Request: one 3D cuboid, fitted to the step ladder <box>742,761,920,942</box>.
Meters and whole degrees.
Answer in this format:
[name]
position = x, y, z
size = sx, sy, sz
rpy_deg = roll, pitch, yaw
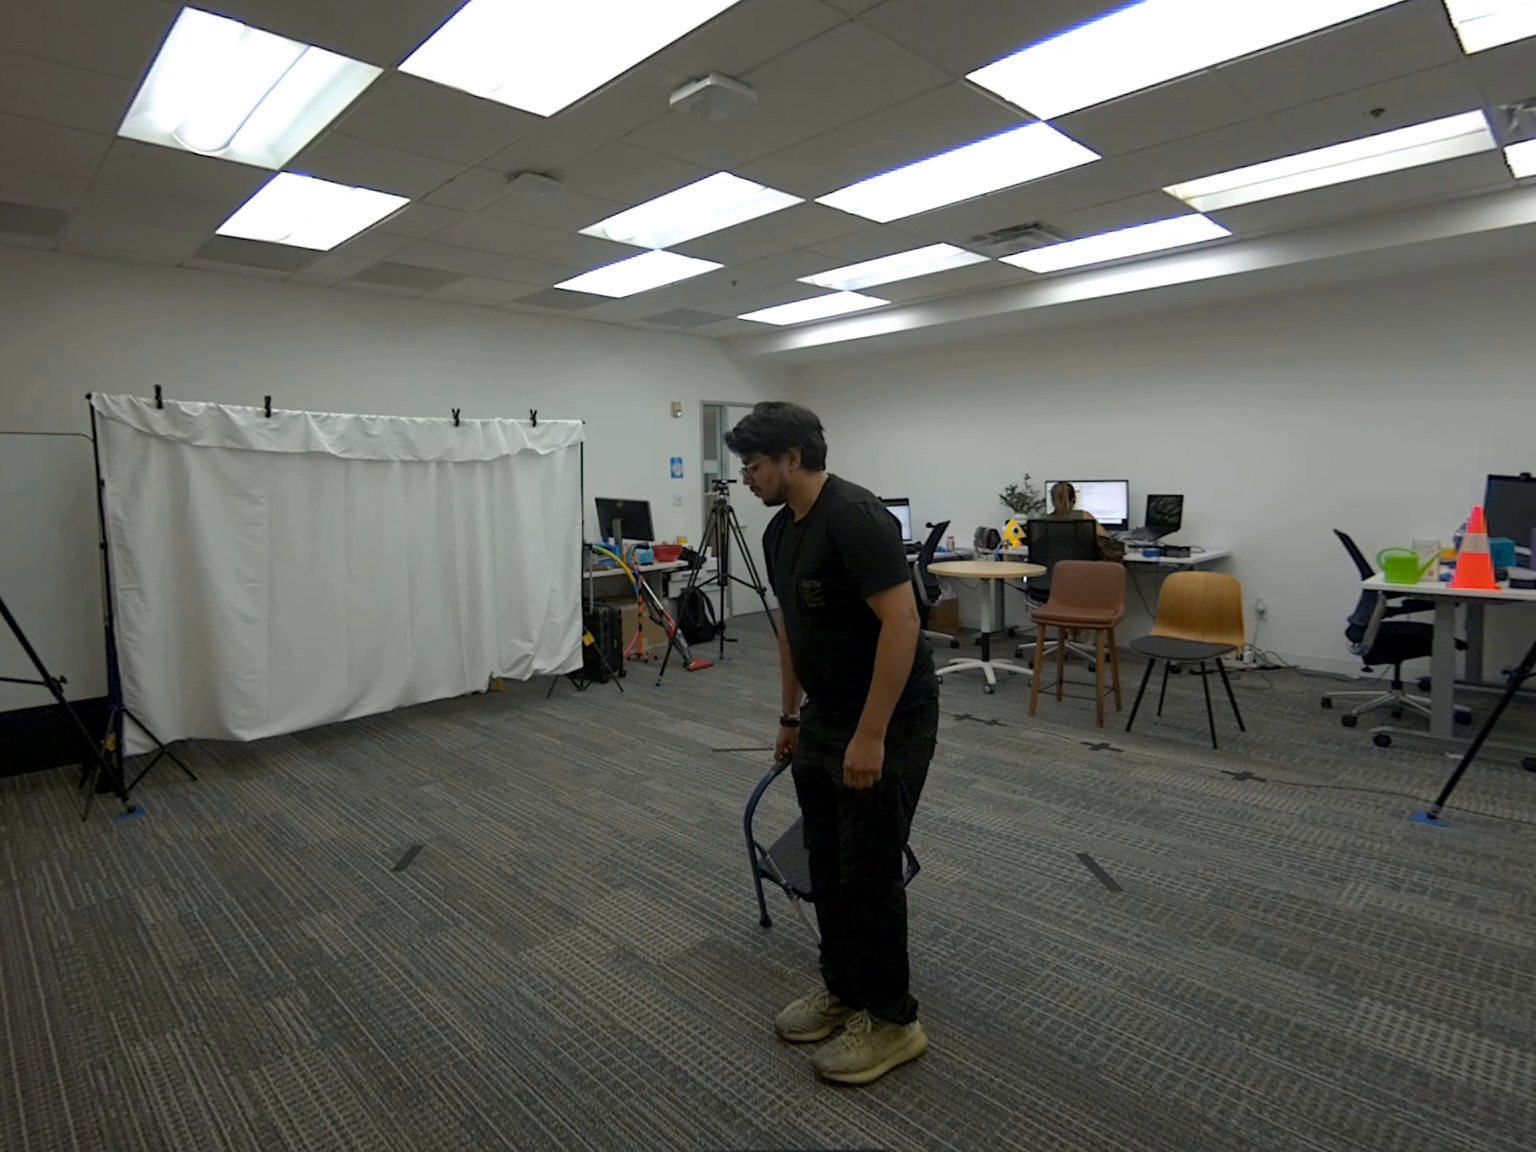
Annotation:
[step ladder]
position = 0.126, 0.749, 2.556
size = 0.428, 0.591, 0.360
rpy_deg = -39, 26, -31
